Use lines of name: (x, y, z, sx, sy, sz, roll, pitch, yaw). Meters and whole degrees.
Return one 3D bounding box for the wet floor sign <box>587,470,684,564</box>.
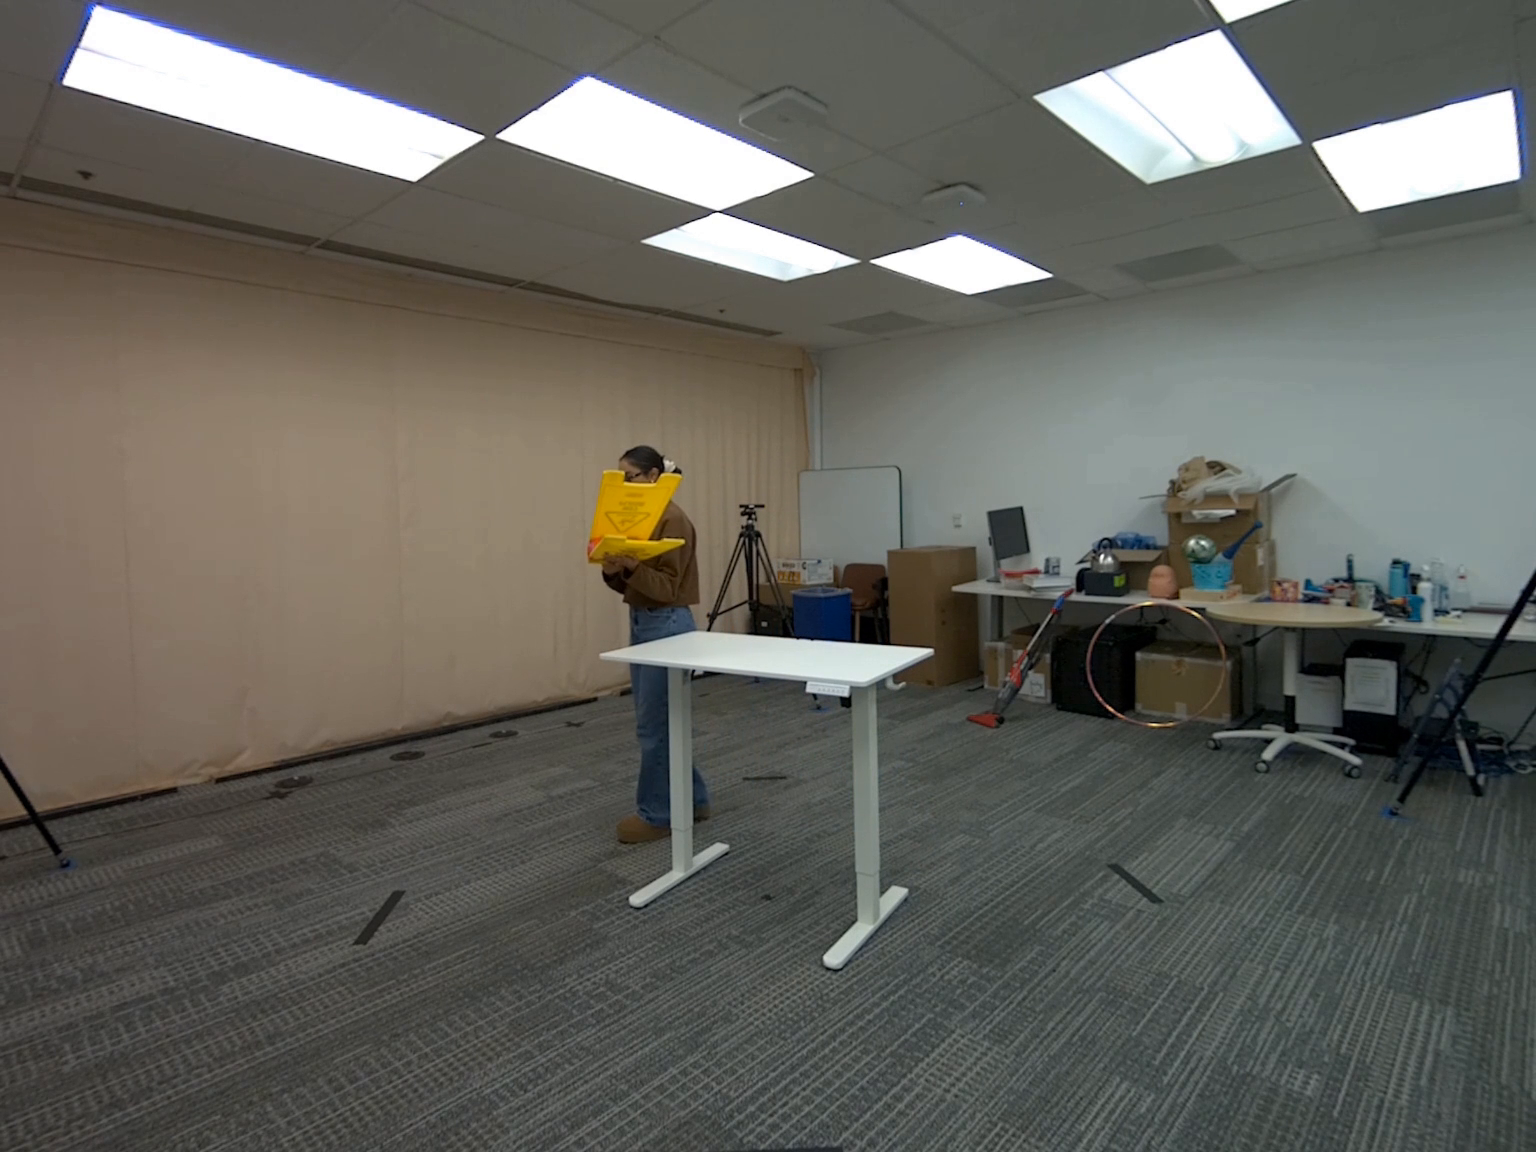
wet floor sign: (-0.550, -0.146, 3.179, 0.276, 0.293, 0.653, 5, -17, -20)
